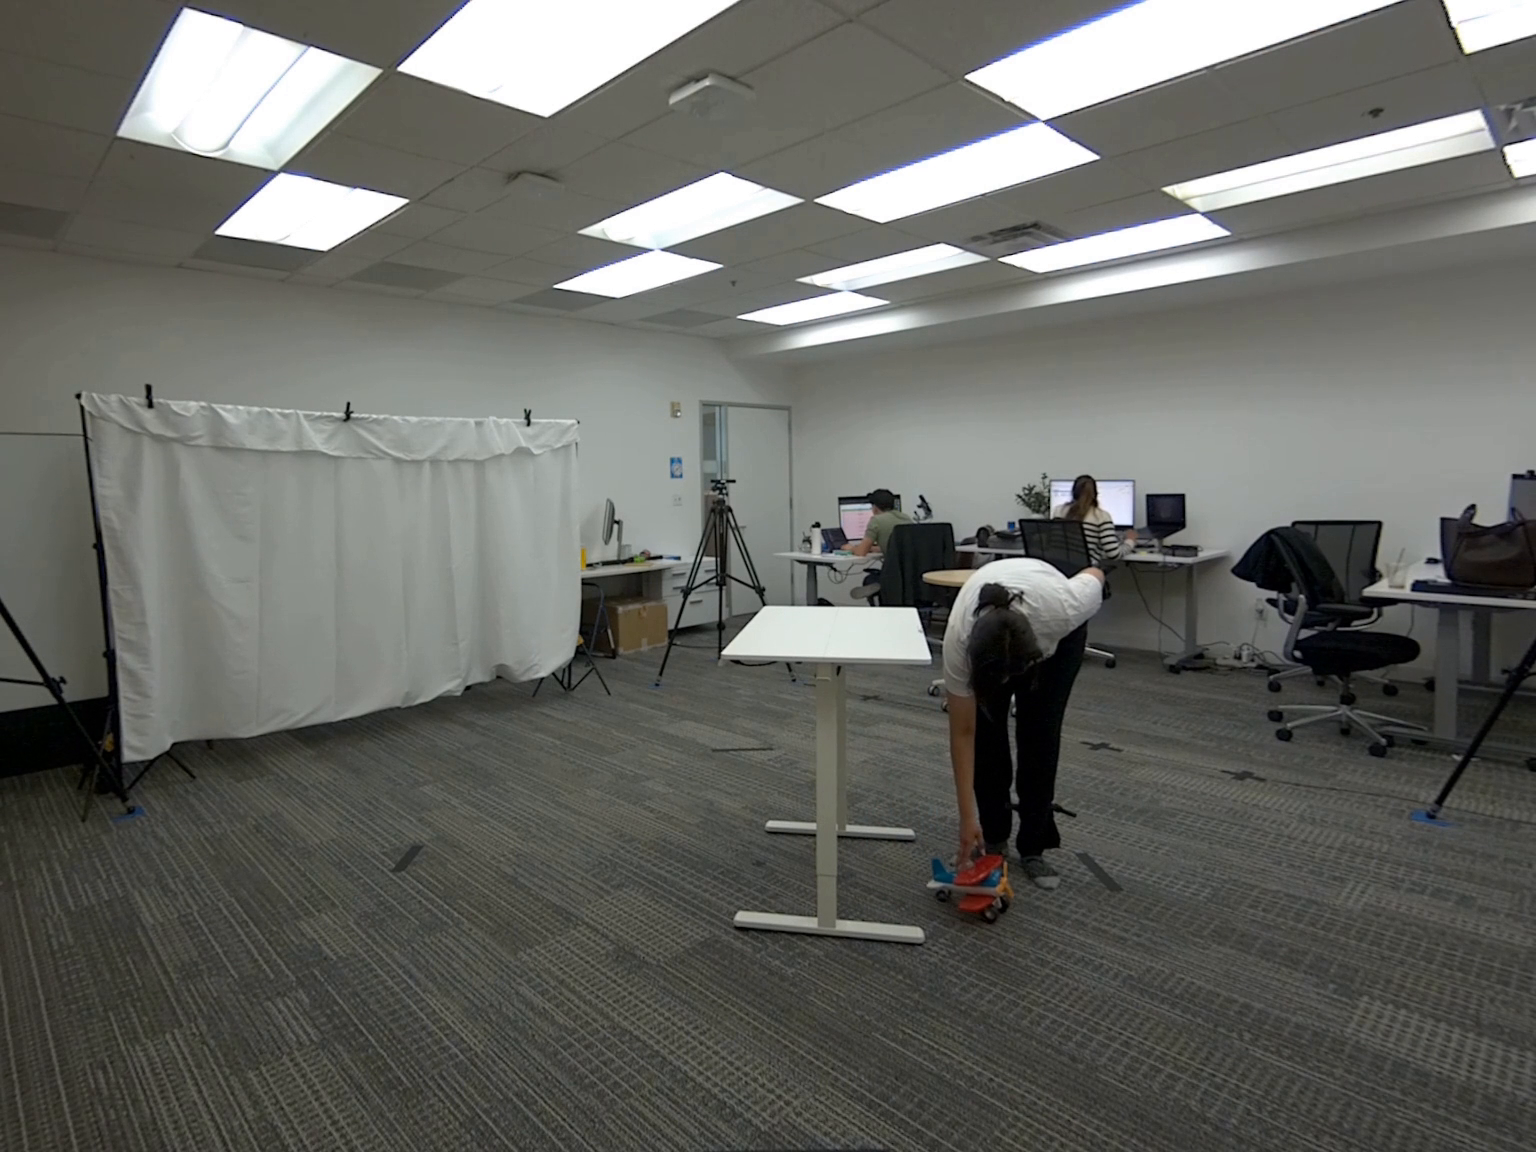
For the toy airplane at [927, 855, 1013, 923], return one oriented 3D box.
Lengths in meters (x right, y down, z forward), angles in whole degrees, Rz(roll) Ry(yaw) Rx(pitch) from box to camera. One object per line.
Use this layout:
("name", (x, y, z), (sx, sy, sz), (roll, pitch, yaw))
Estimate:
("toy airplane", (0.644, 1.005, 2.741), (0.263, 0.156, 0.249), (2, 6, 12))
